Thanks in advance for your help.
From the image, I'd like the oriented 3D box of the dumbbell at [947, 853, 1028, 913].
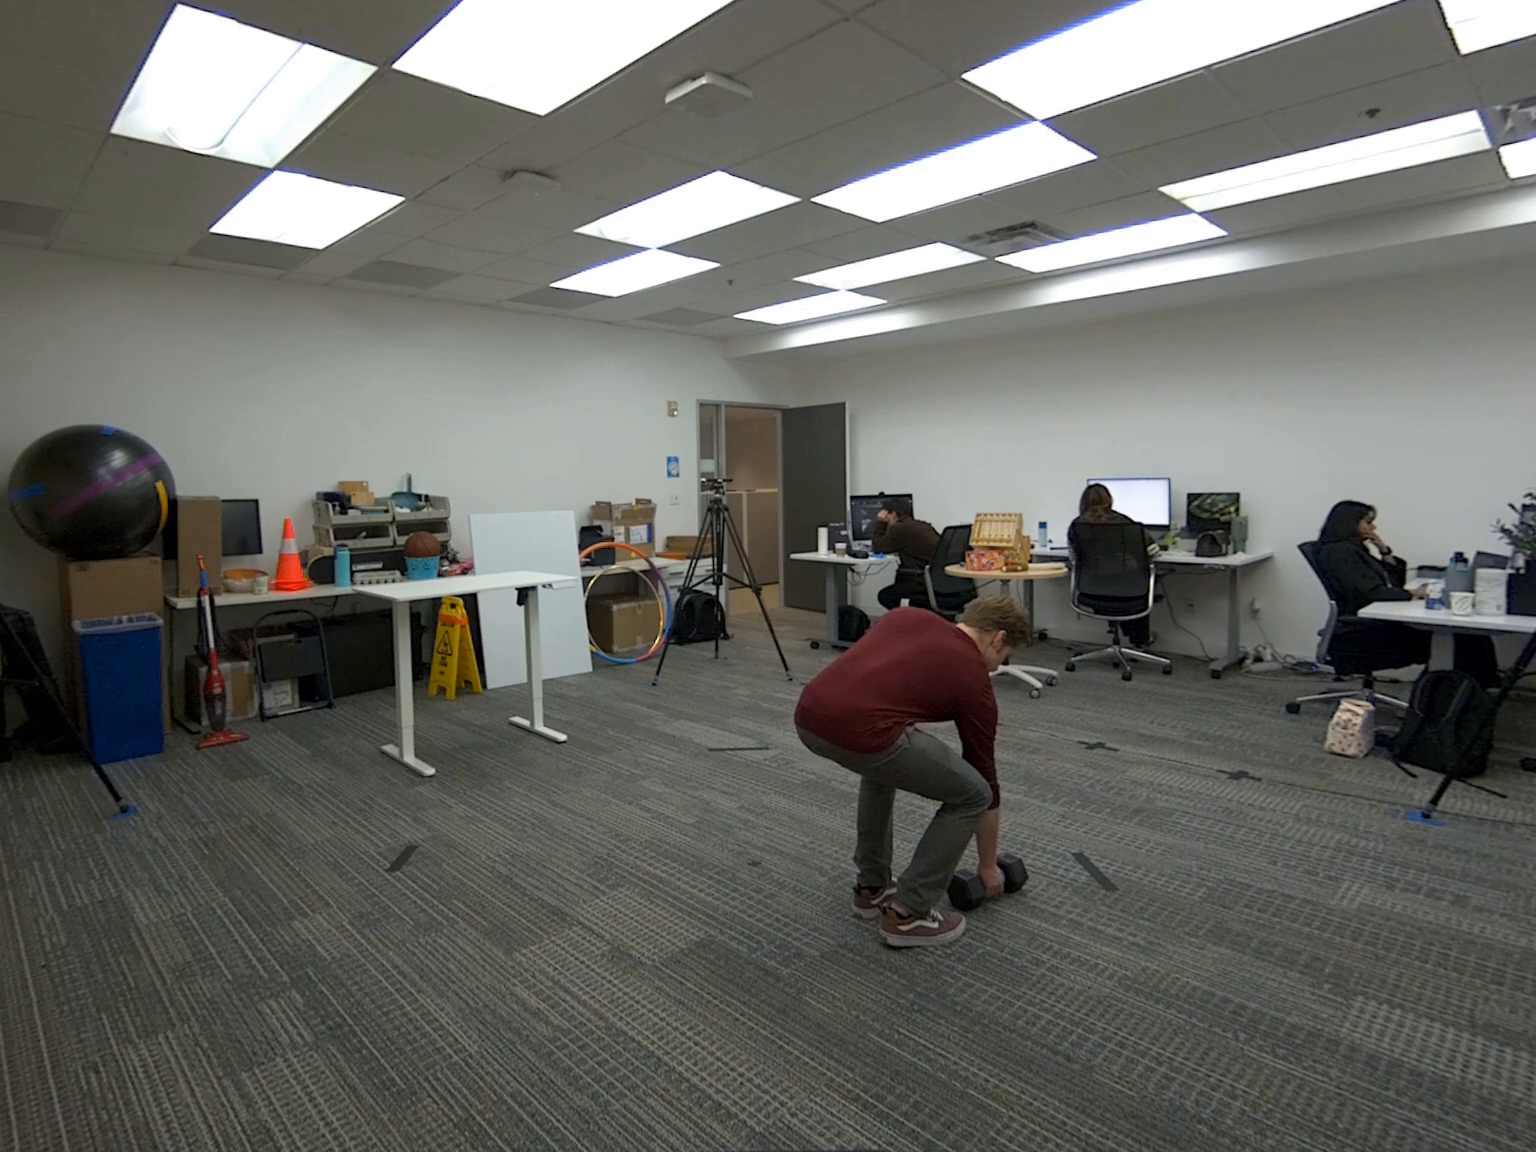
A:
[{"bbox_3d":[0.731,1.004,2.822,0.286,0.121,0.113,-6,37,-34],"label":"dumbbell"}]
